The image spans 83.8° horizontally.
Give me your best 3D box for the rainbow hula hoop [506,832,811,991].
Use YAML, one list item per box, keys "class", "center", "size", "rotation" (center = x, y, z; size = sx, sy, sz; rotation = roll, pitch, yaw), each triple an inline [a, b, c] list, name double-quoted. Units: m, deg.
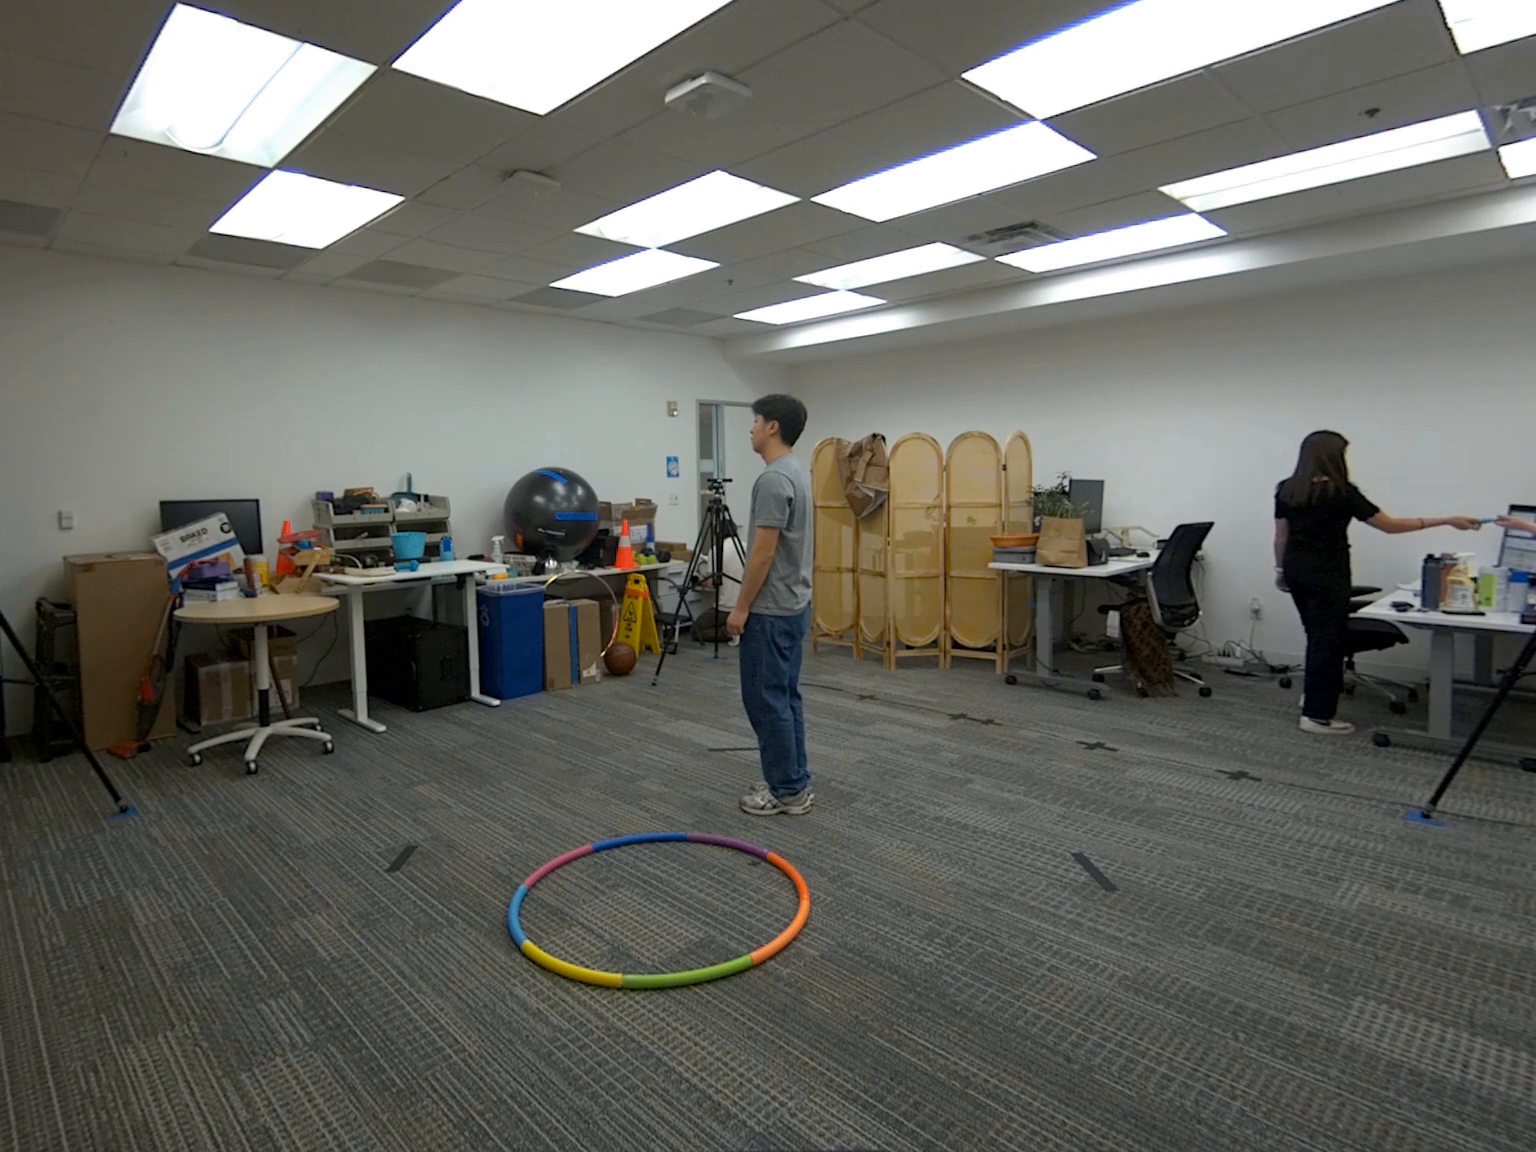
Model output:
- class: "rainbow hula hoop"
  center: [-0.355, 1.054, 2.838]
  size: [0.978, 0.035, 0.984]
  rotation: [-2, 6, -2]
